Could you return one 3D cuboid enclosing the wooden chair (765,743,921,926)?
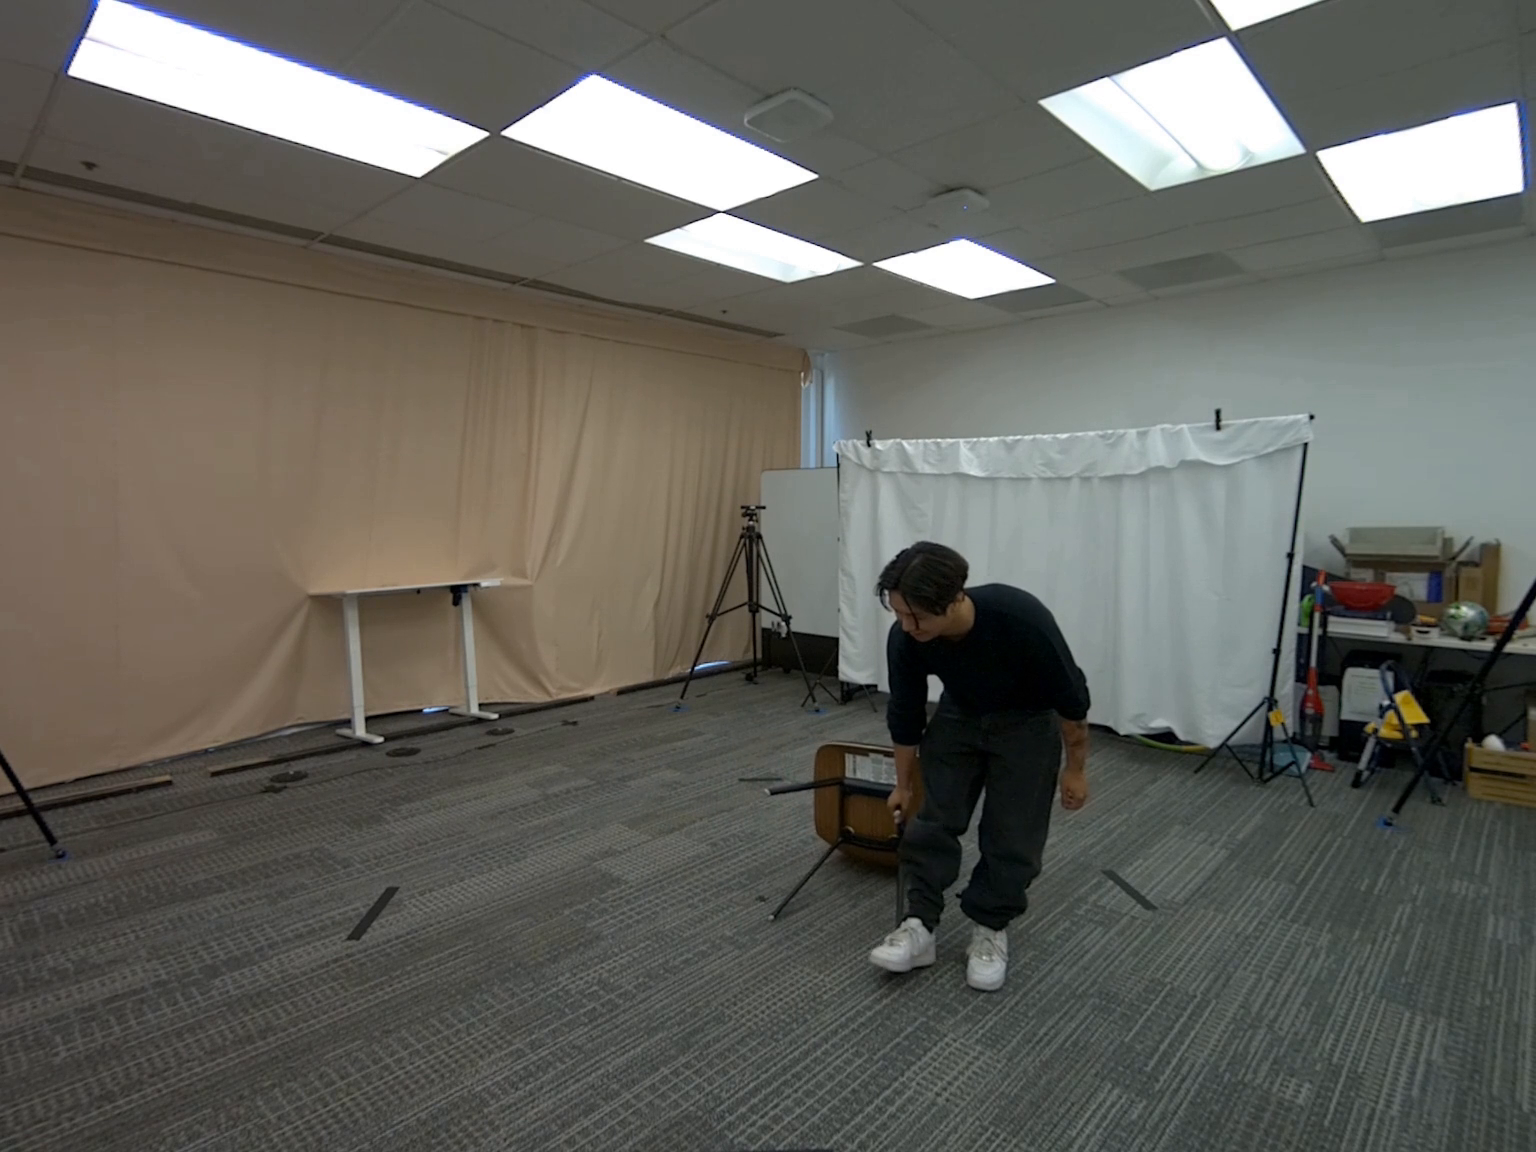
[{"bbox_3d":[0.379,0.877,3.076,0.490,0.522,0.856,1,3,25],"label":"wooden chair"}]
